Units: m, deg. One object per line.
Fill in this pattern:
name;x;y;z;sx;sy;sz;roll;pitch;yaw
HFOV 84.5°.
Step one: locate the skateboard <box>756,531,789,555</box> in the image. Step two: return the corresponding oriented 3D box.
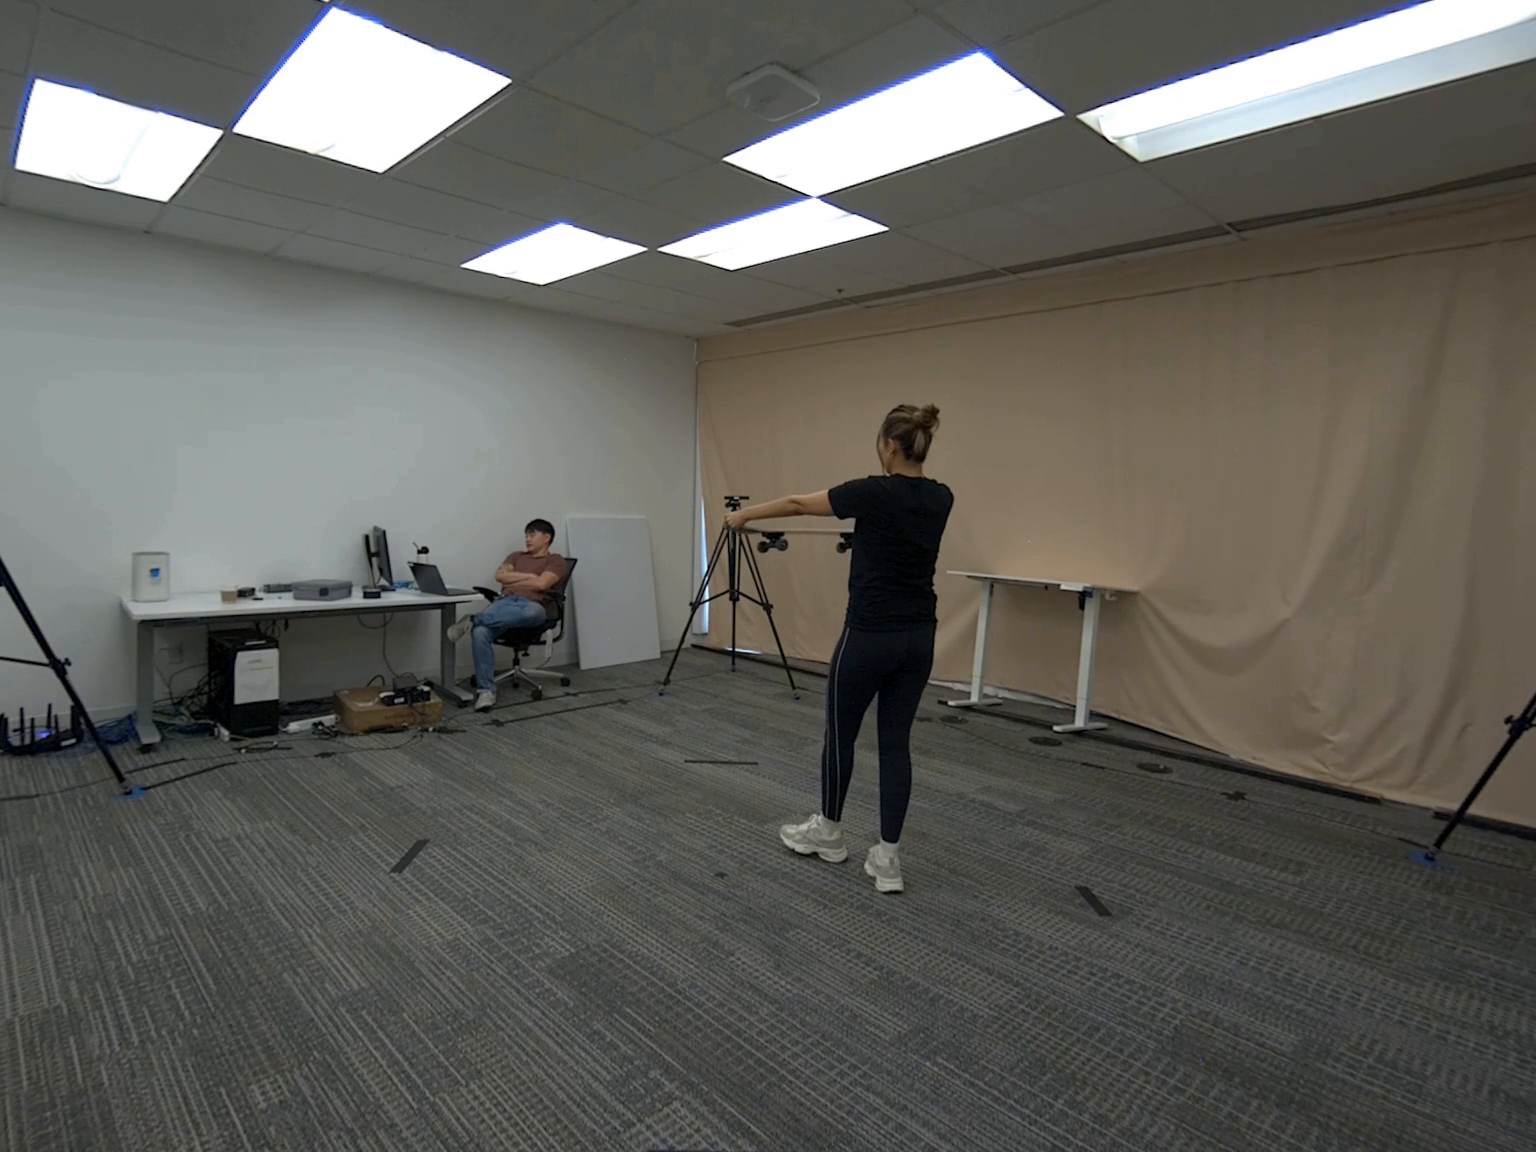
skateboard;0.178;-0.153;3.542;0.770;0.110;0.197;0;-2;-29
